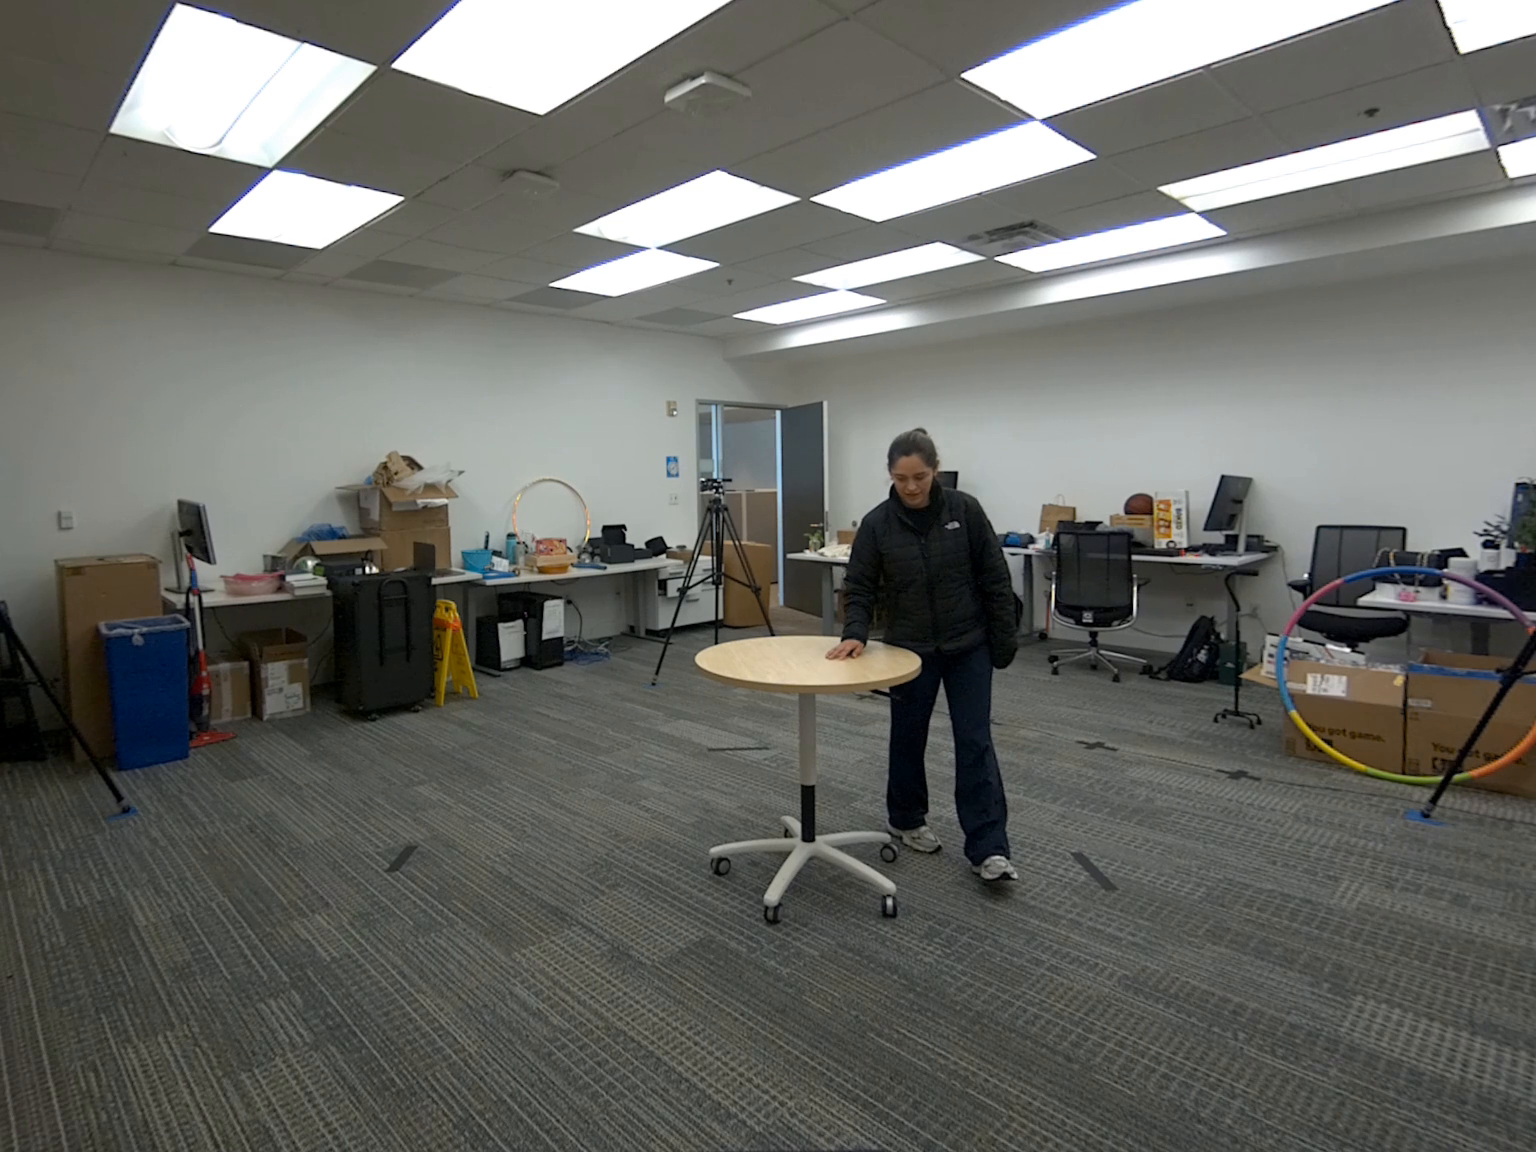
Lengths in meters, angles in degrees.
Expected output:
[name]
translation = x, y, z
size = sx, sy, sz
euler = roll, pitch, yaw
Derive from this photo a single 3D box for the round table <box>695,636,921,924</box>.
[round table]
translation = 0.128, 0.666, 2.953
size = 0.784, 0.783, 0.789
euler = -1, 5, -2
